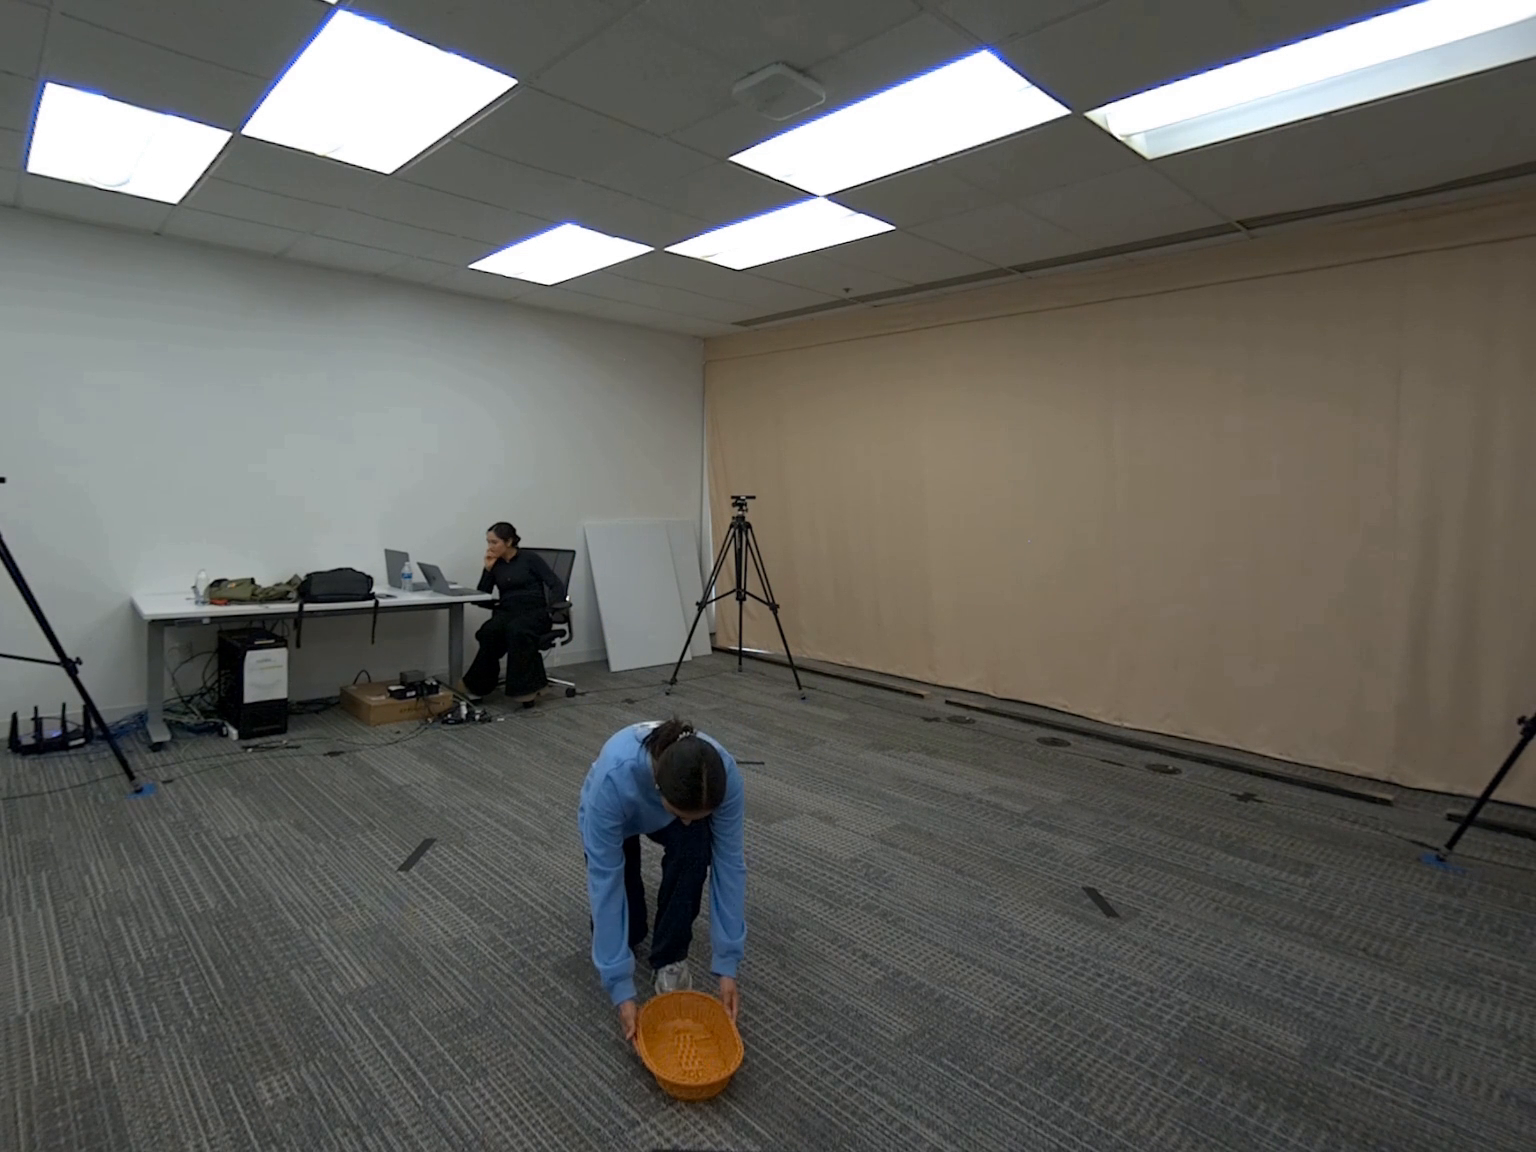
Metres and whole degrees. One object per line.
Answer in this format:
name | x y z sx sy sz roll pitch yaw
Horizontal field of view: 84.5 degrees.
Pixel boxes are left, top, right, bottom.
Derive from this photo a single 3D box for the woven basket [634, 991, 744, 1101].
woven basket | -0.213 1.147 2.061 0.250 0.073 0.355 1 8 -12
